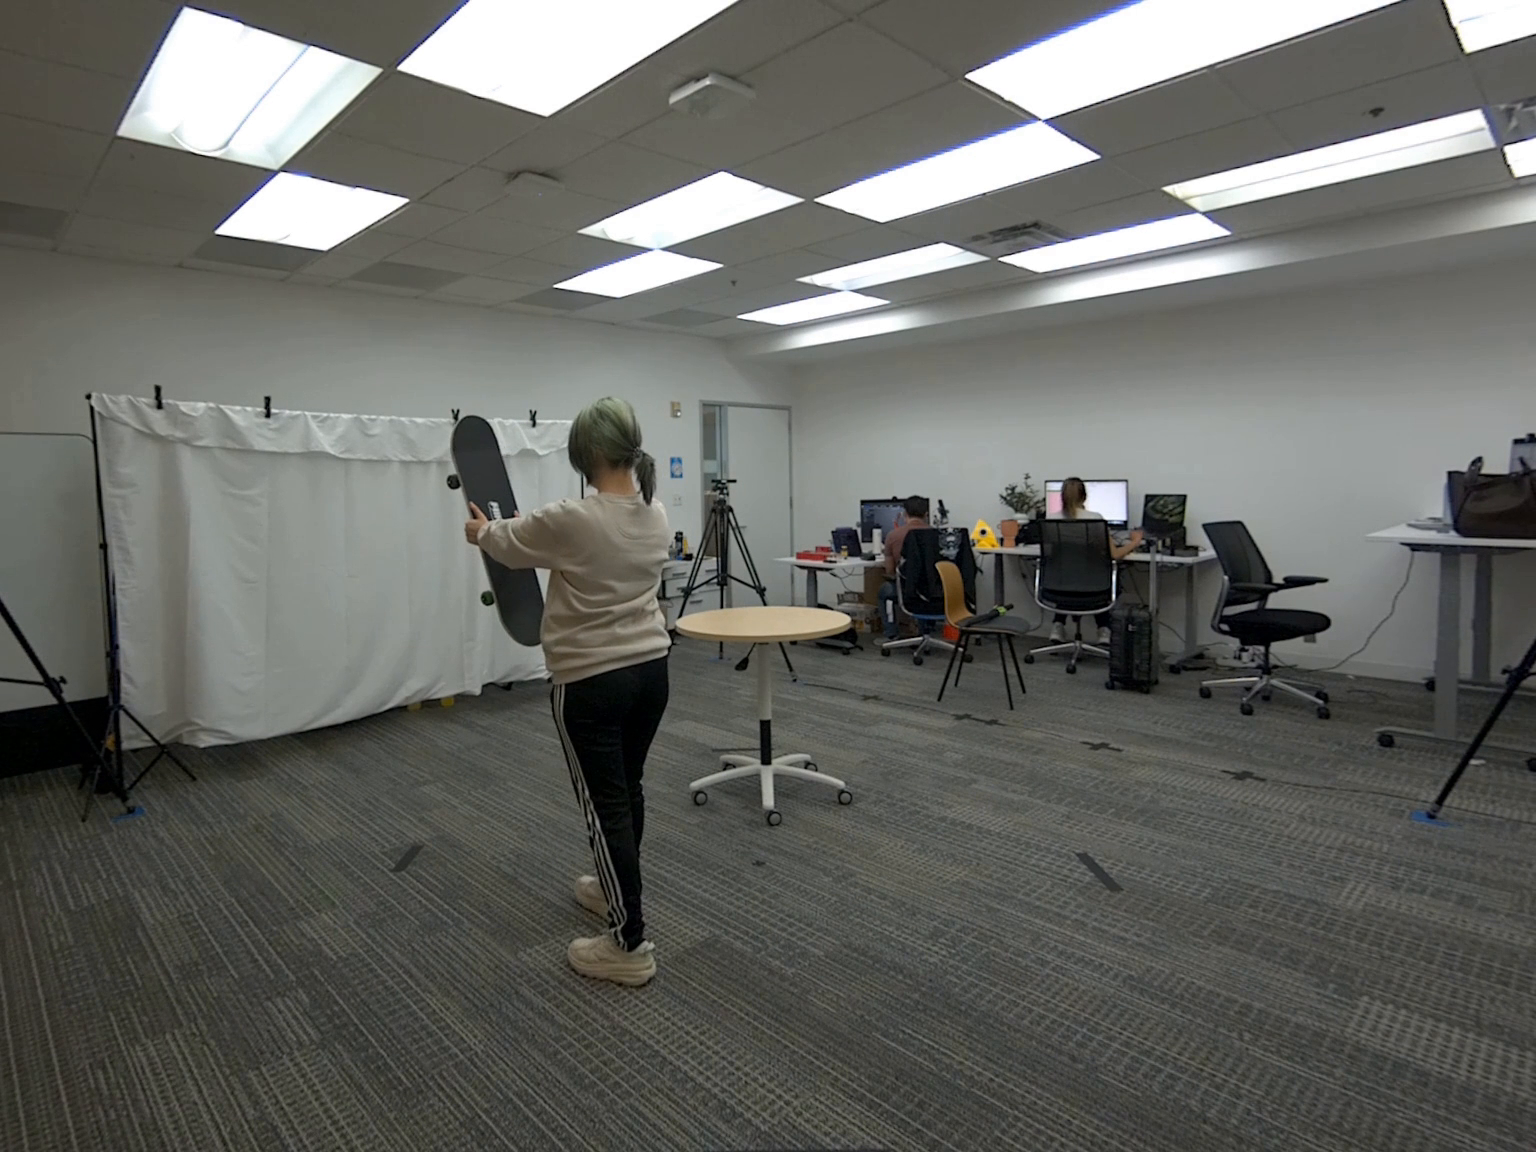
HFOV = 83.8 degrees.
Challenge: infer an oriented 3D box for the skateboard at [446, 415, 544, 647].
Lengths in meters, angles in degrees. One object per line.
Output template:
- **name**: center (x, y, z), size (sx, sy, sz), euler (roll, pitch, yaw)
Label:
- **skateboard**: center (-0.909, -0.140, 2.846), size (0.112, 0.783, 0.190), euler (-15, 2, 36)
